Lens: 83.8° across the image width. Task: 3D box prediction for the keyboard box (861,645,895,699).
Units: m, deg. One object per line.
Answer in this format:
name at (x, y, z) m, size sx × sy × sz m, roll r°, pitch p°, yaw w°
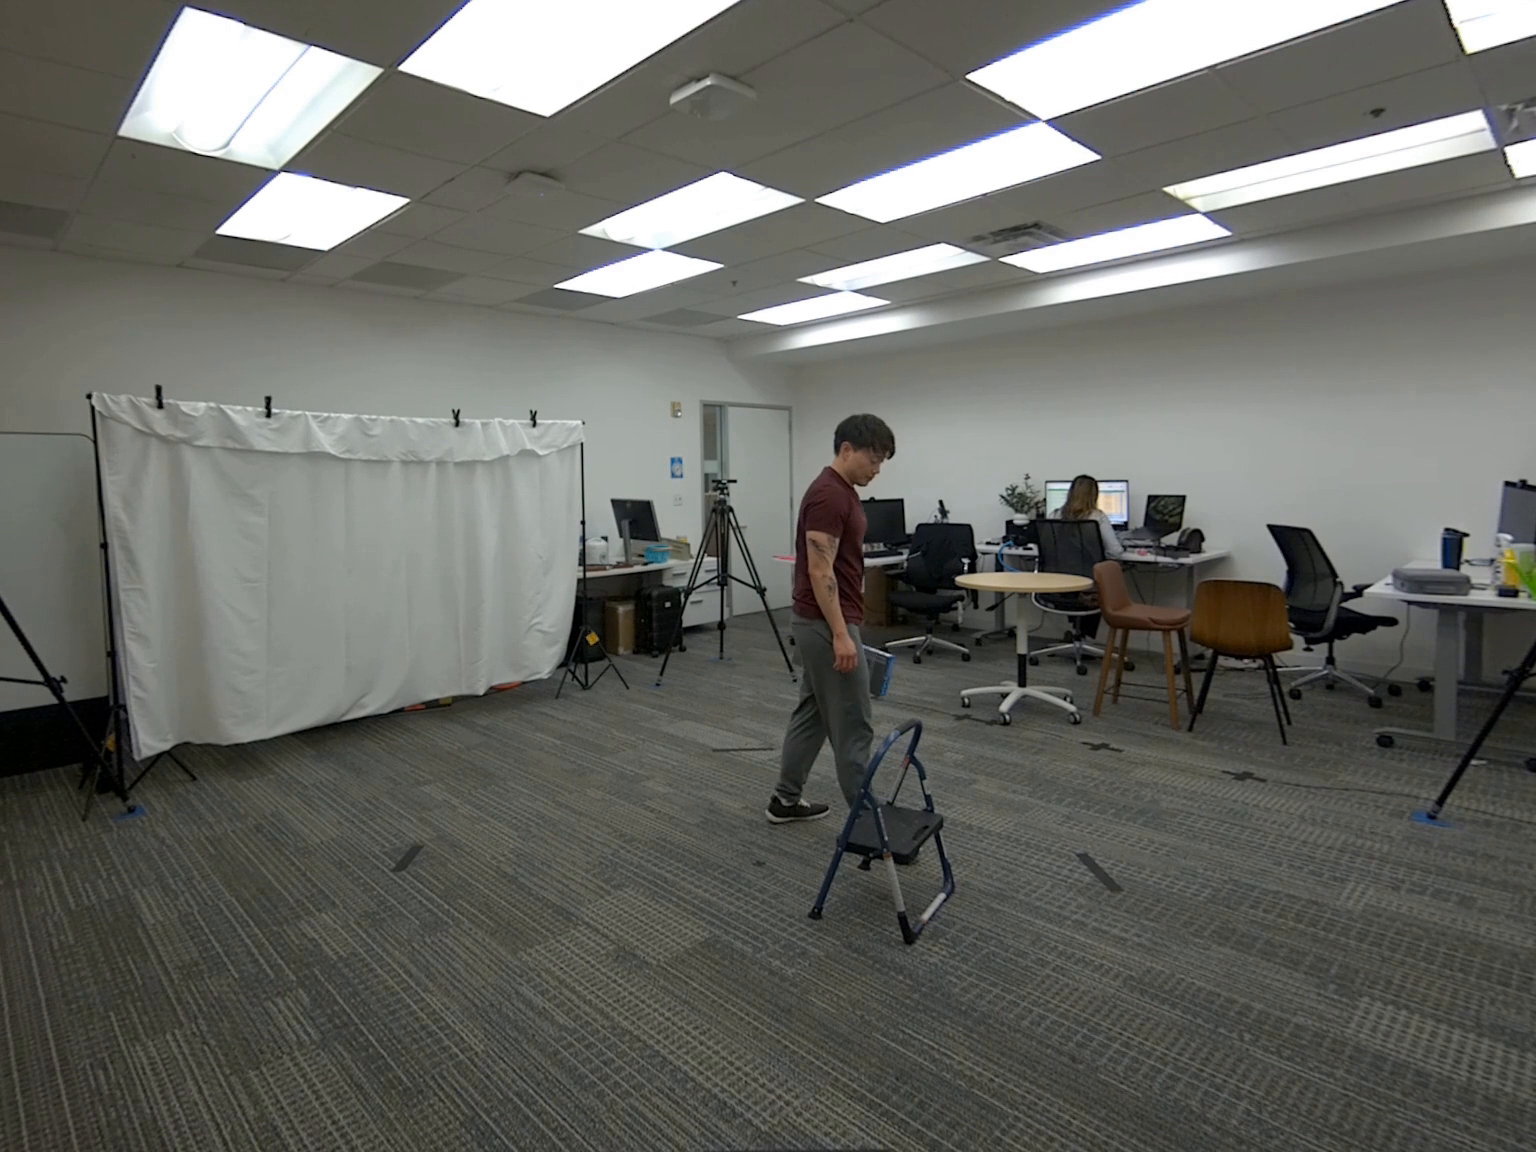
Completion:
keyboard box at (0.332, 0.354, 3.614) m, size 0.452 × 0.175 × 0.057 m, roll 18°, pitch 10°, yaw 35°
